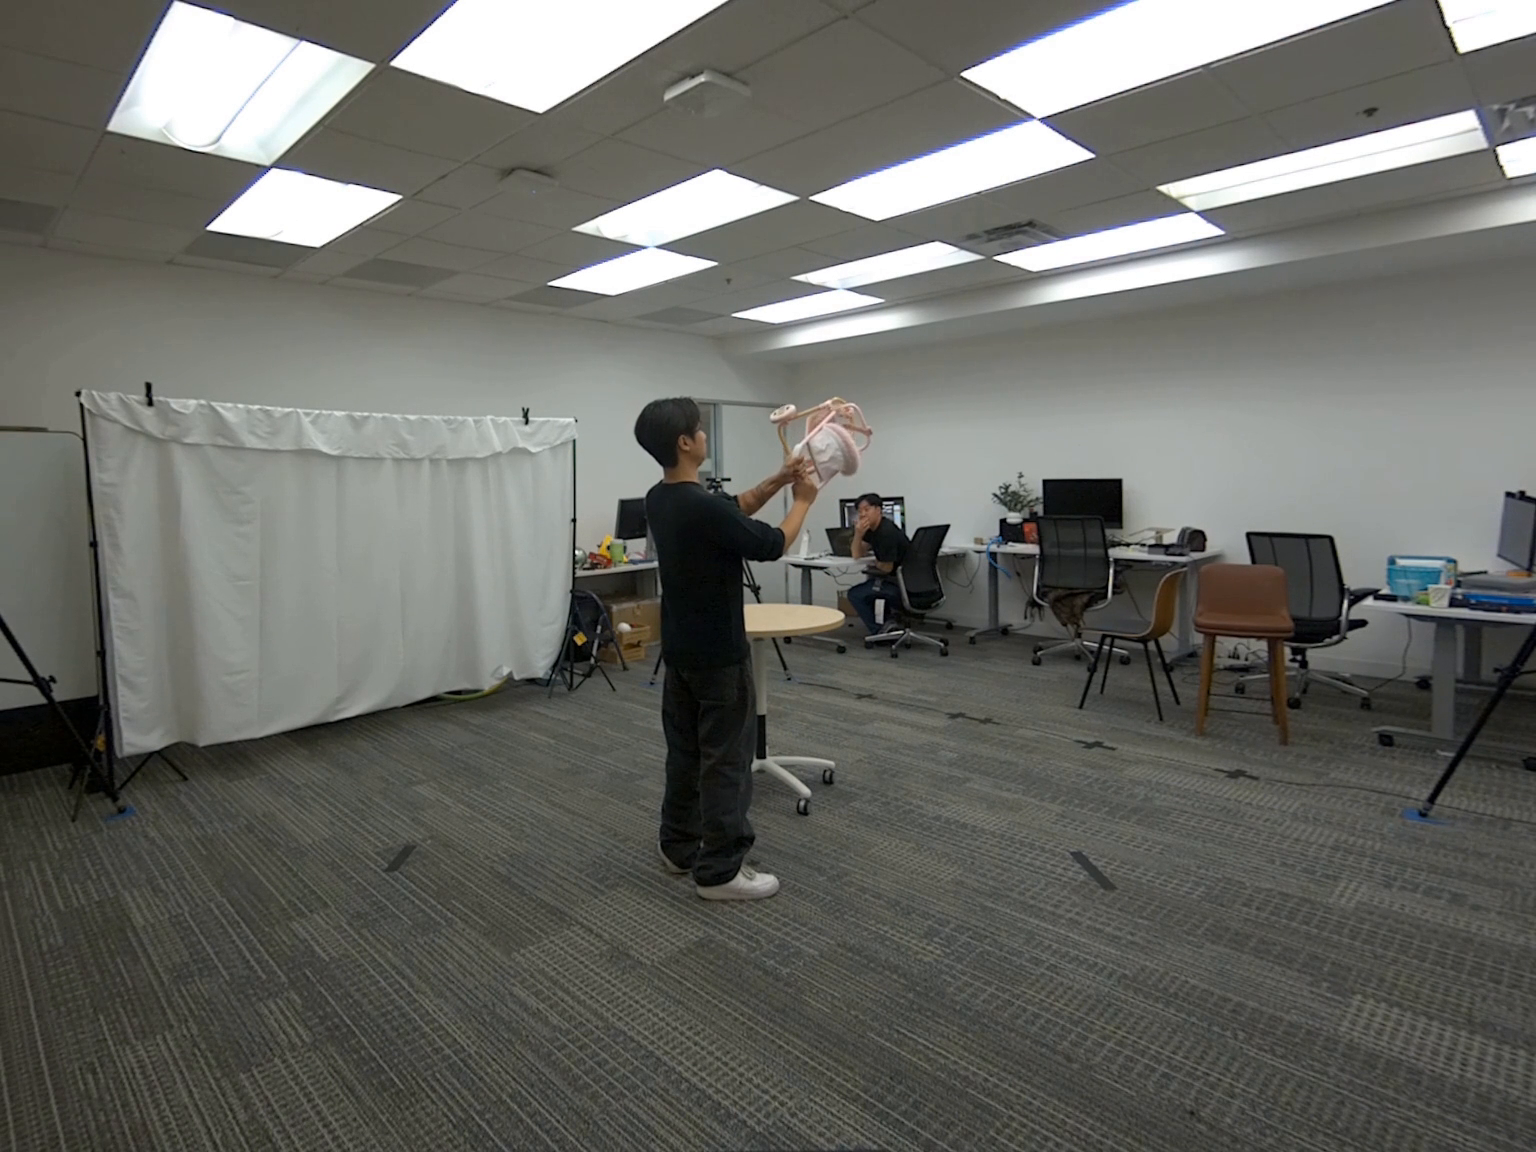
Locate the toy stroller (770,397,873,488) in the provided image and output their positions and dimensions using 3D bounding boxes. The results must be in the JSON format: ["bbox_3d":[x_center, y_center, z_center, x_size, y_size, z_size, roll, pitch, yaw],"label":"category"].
[{"bbox_3d":[0.231,-0.508,3.229,0.341,0.274,0.549,-21,25,0],"label":"toy stroller"}]
